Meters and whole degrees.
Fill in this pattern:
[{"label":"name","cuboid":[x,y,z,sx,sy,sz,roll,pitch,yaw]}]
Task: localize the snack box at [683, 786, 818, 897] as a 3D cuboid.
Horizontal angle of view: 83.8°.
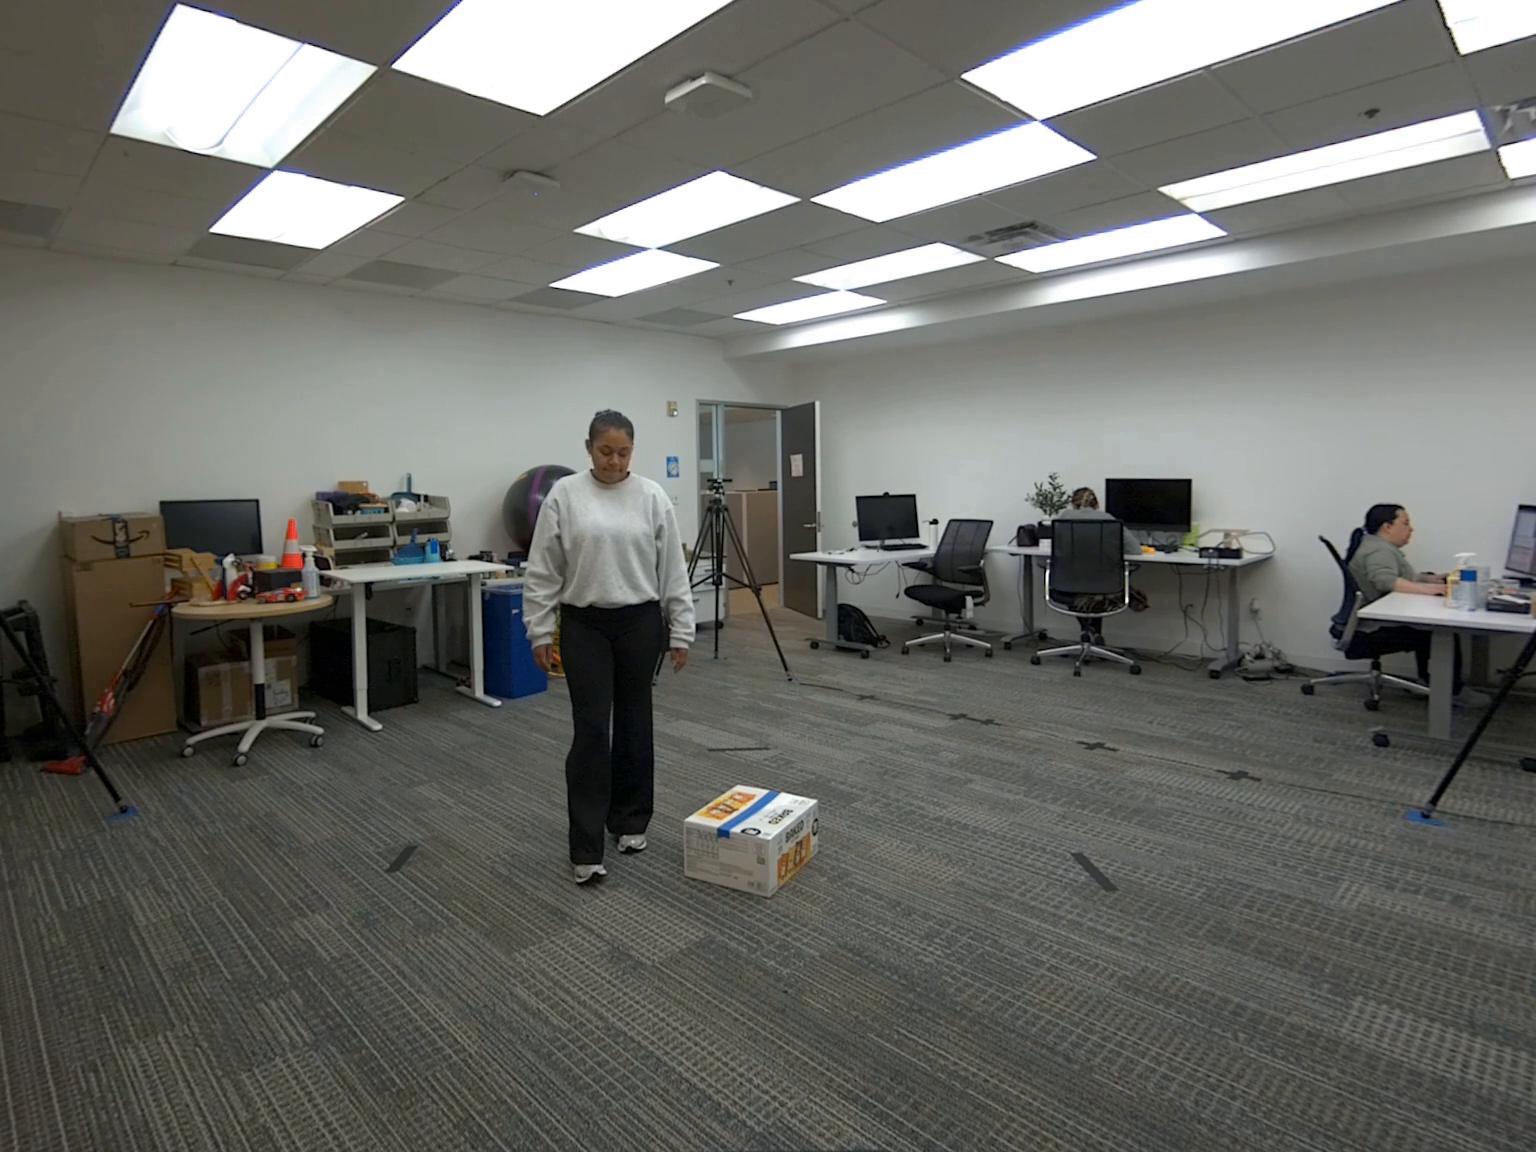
[{"label":"snack box","cuboid":[-0.054,0.945,3.090,0.349,0.205,0.396,2,6,29]}]
